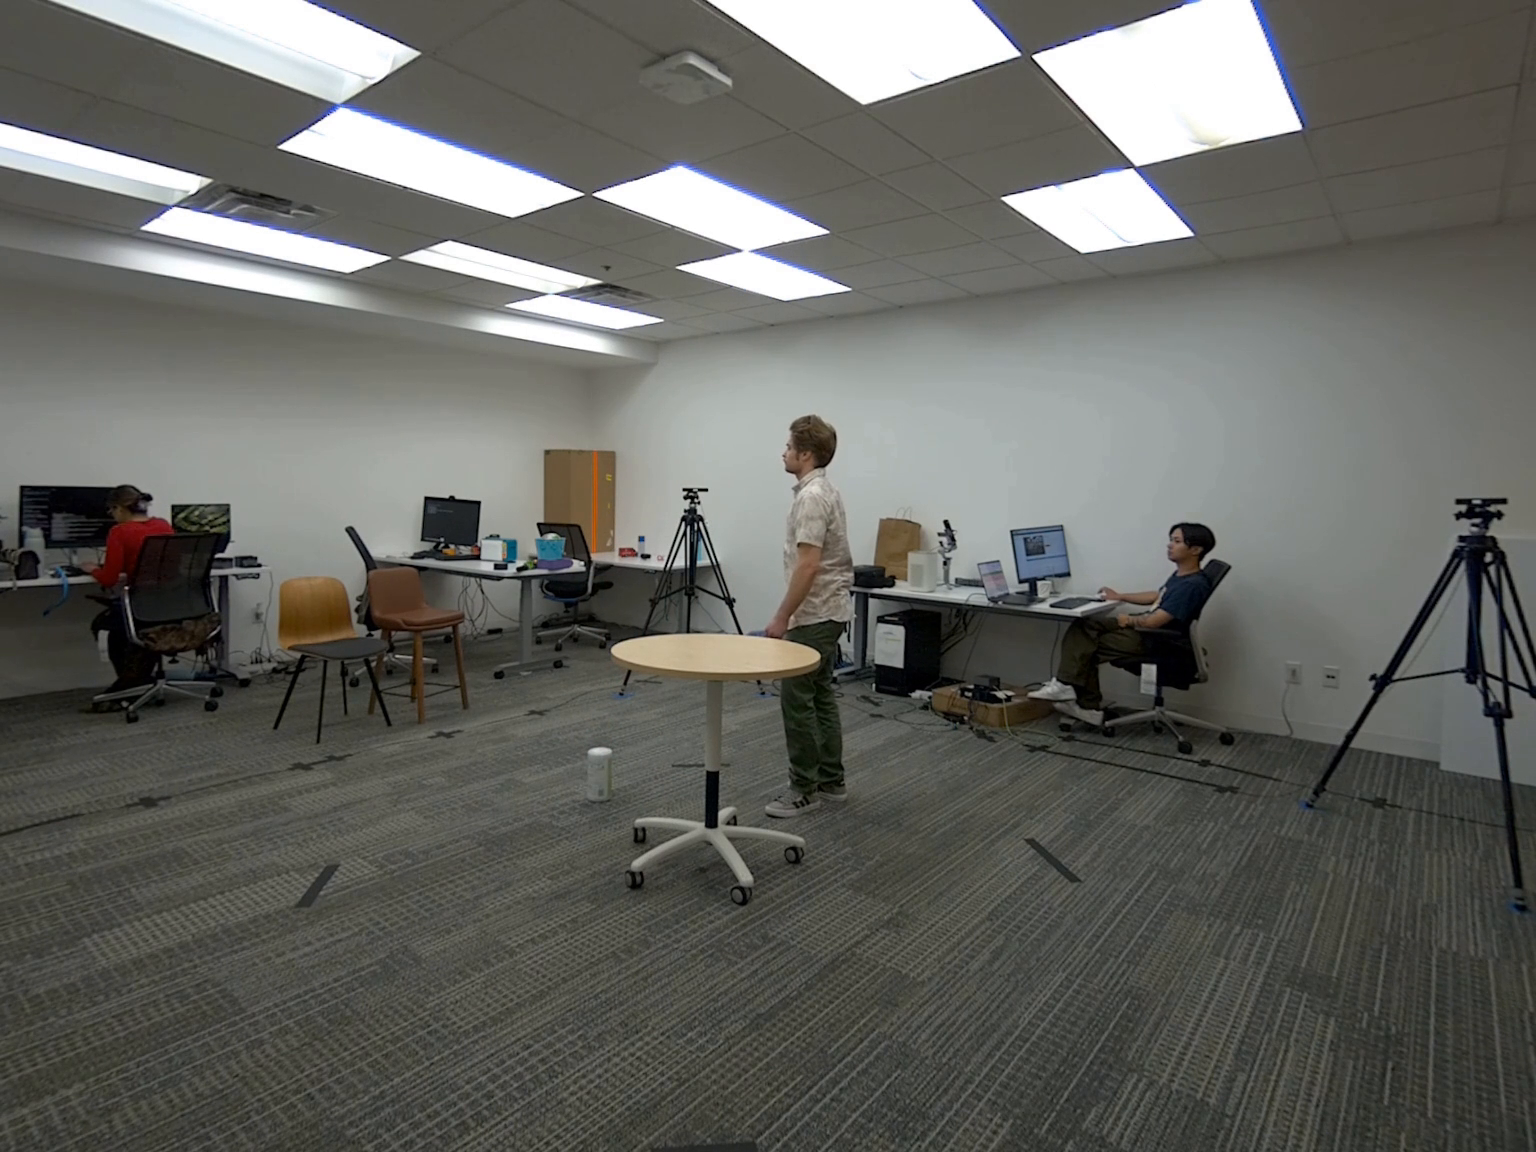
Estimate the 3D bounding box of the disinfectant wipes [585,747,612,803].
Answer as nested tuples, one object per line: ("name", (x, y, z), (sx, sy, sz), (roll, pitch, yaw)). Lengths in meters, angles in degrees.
("disinfectant wipes", (-0.770, 0.885, 3.814), (0.118, 0.217, 0.118), (0, 4, -2))
